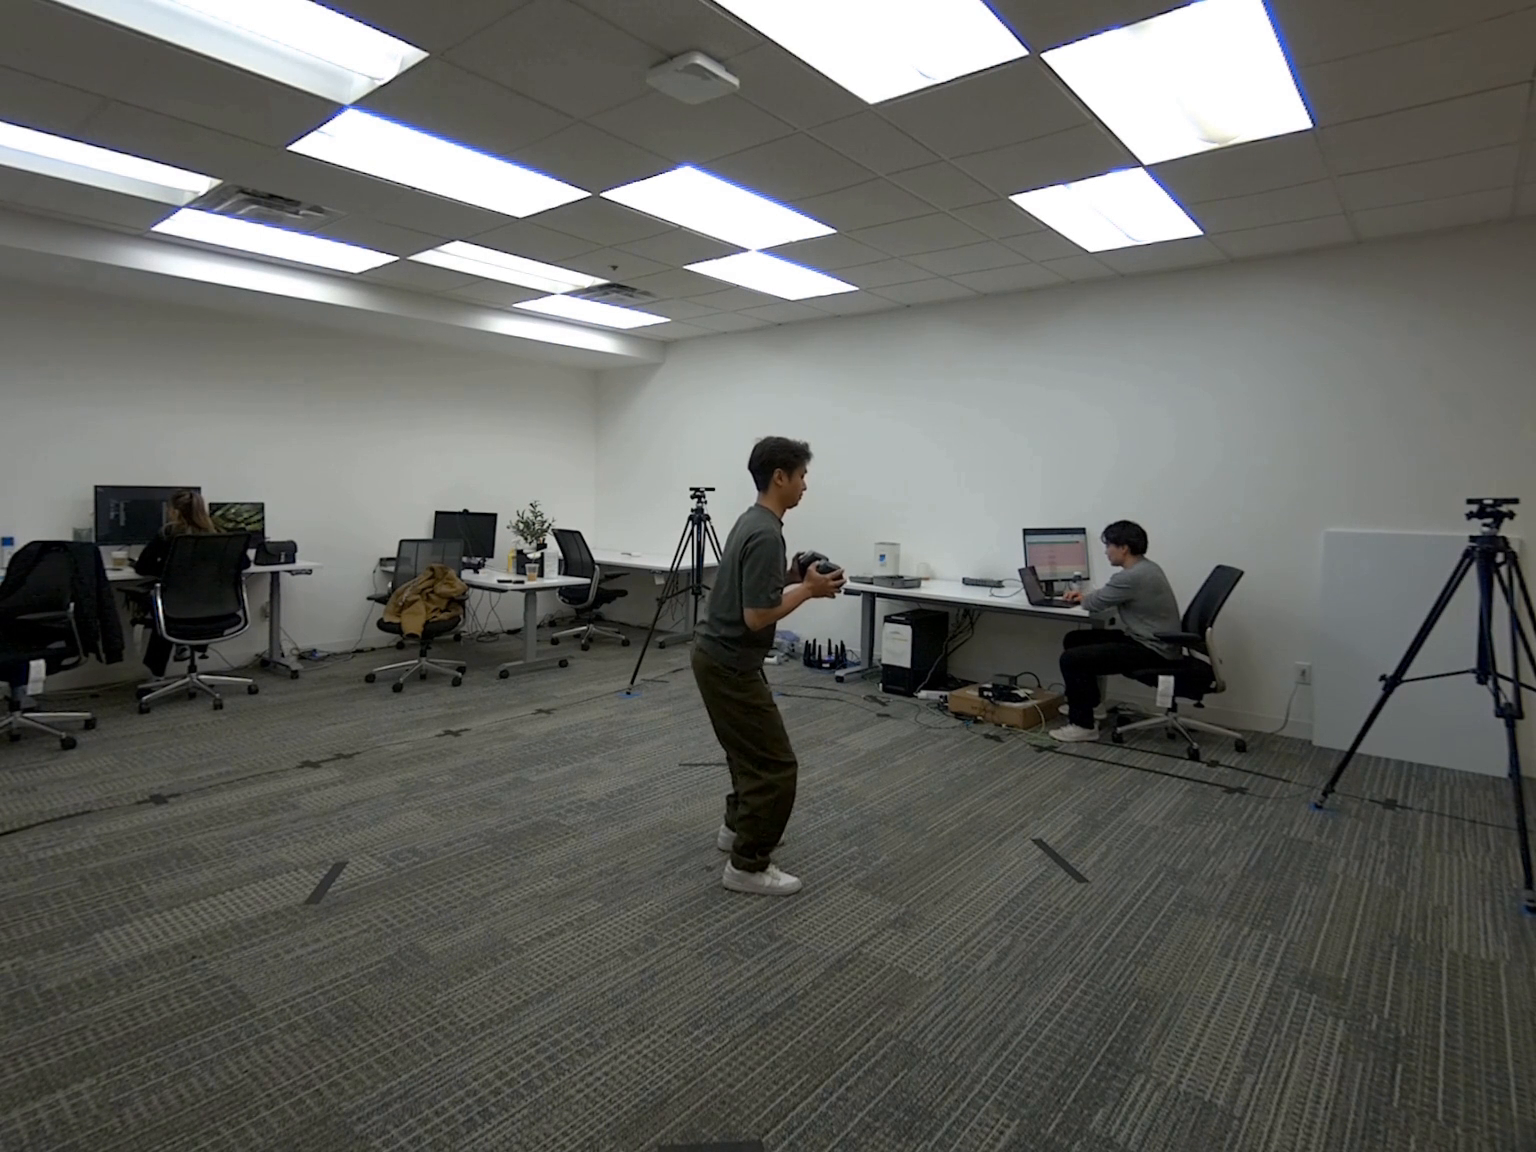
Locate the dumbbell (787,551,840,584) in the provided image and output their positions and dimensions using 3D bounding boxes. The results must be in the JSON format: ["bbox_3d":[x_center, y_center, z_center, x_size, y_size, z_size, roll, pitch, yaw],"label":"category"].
[{"bbox_3d":[0.171,-0.009,3.118,0.123,0.107,0.298,-39,14,4],"label":"dumbbell"}]
